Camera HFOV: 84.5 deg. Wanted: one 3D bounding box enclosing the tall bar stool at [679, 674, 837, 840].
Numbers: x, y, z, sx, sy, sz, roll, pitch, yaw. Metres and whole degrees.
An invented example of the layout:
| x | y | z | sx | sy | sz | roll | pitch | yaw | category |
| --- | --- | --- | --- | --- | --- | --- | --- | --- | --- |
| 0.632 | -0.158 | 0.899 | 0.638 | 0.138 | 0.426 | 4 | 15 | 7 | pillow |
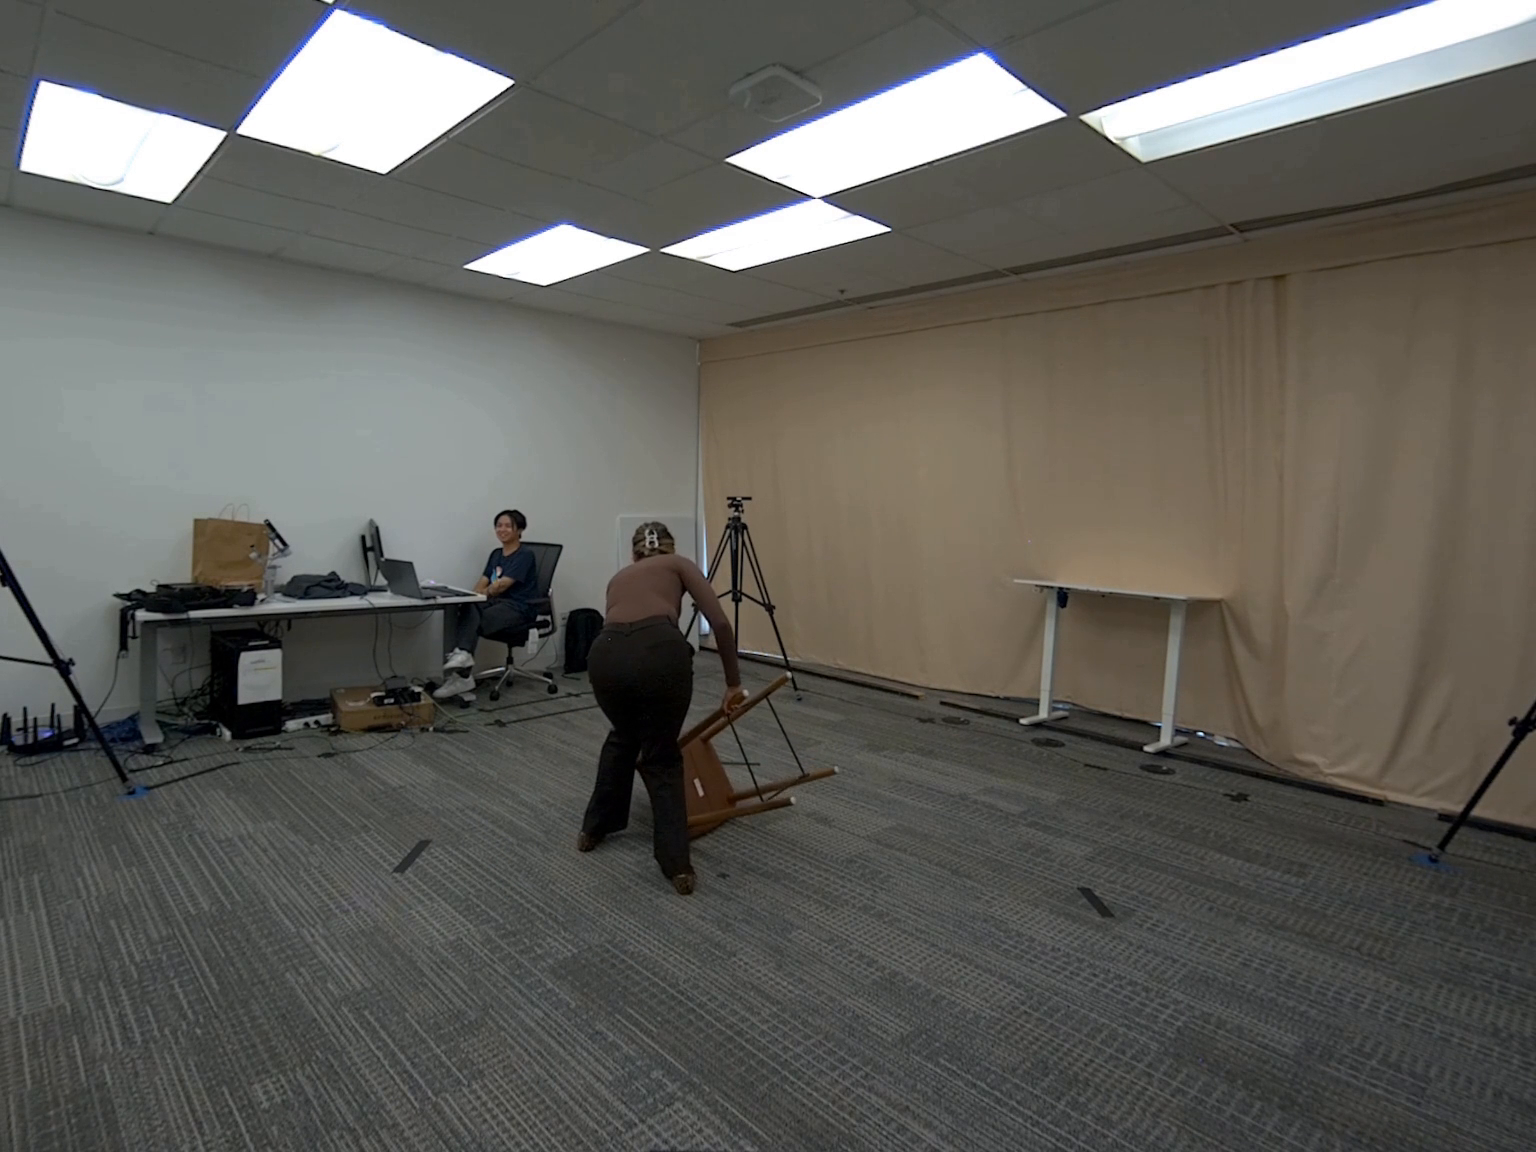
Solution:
| x | y | z | sx | sy | sz | roll | pitch | yaw | category |
| --- | --- | --- | --- | --- | --- | --- | --- | --- | --- |
| -0.243 | 0.804 | 3.508 | 0.897 | 0.472 | 0.448 | -28 | -10 | 30 | tall bar stool |
